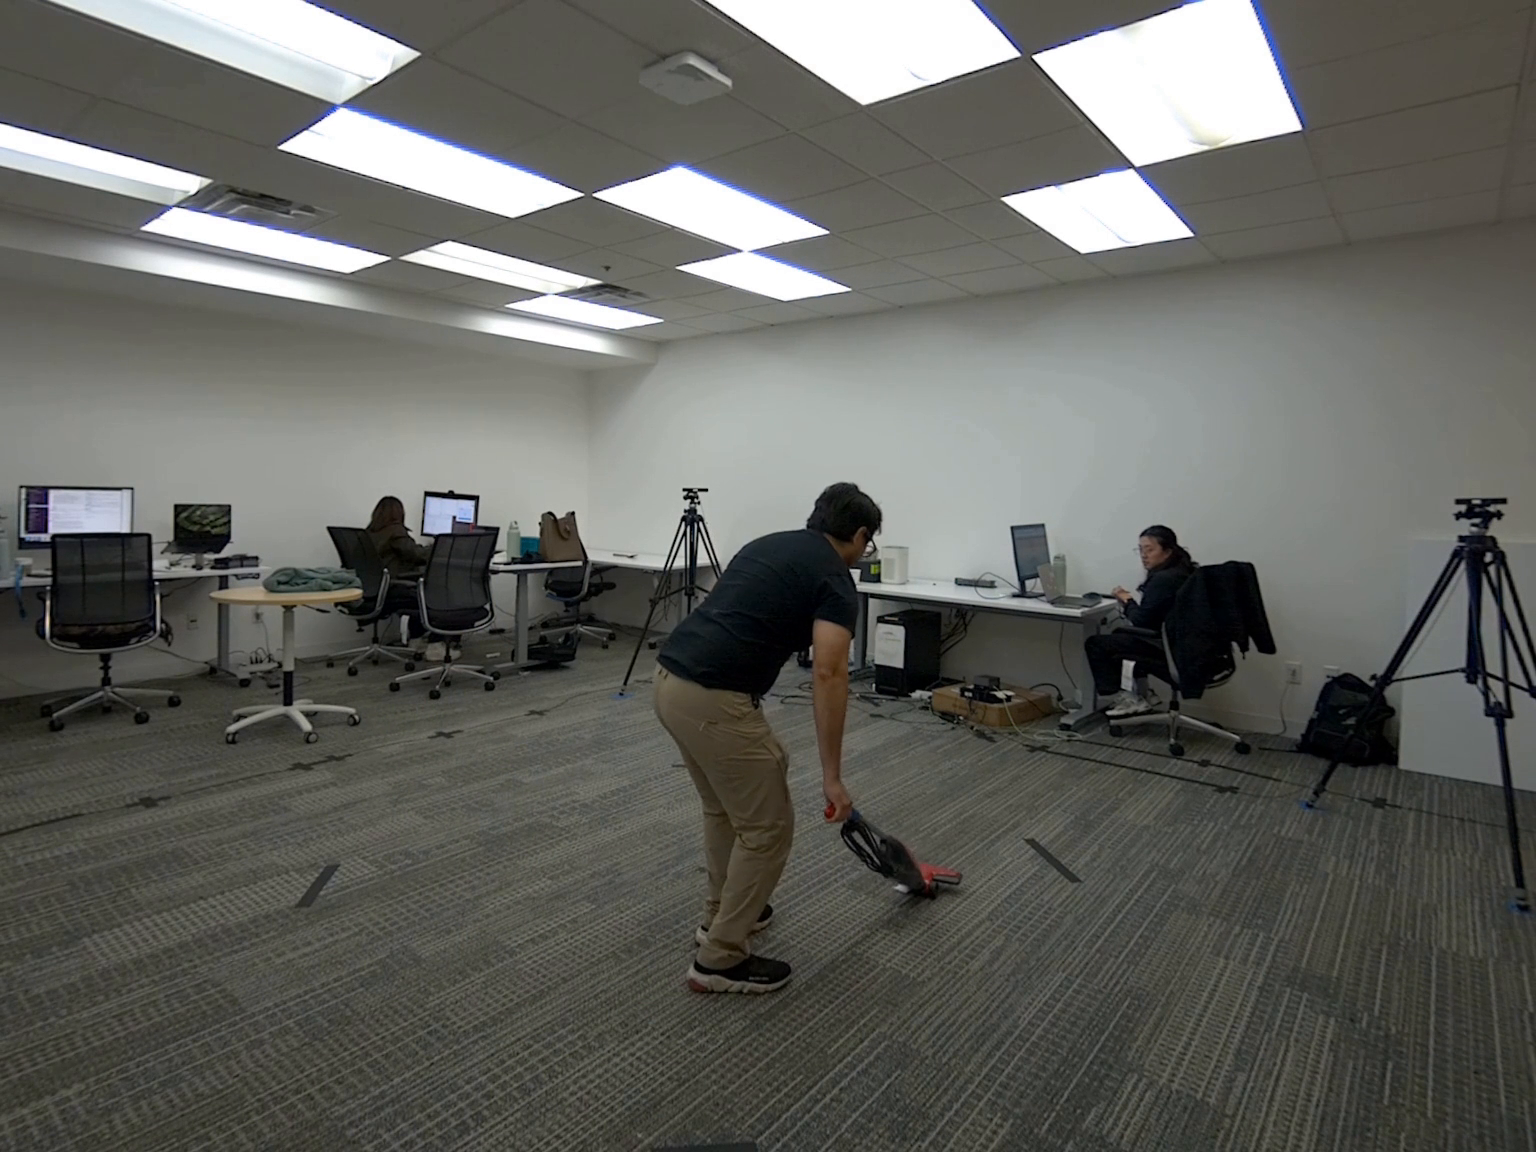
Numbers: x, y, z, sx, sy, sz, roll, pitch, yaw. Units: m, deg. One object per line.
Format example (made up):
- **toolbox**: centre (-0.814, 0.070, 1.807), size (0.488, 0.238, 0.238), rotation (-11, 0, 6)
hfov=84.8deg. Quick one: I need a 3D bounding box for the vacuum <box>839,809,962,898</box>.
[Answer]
- **vacuum**: centre (0.339, 0.844, 2.613), size (0.260, 0.145, 1.006), rotation (7, -23, 30)
